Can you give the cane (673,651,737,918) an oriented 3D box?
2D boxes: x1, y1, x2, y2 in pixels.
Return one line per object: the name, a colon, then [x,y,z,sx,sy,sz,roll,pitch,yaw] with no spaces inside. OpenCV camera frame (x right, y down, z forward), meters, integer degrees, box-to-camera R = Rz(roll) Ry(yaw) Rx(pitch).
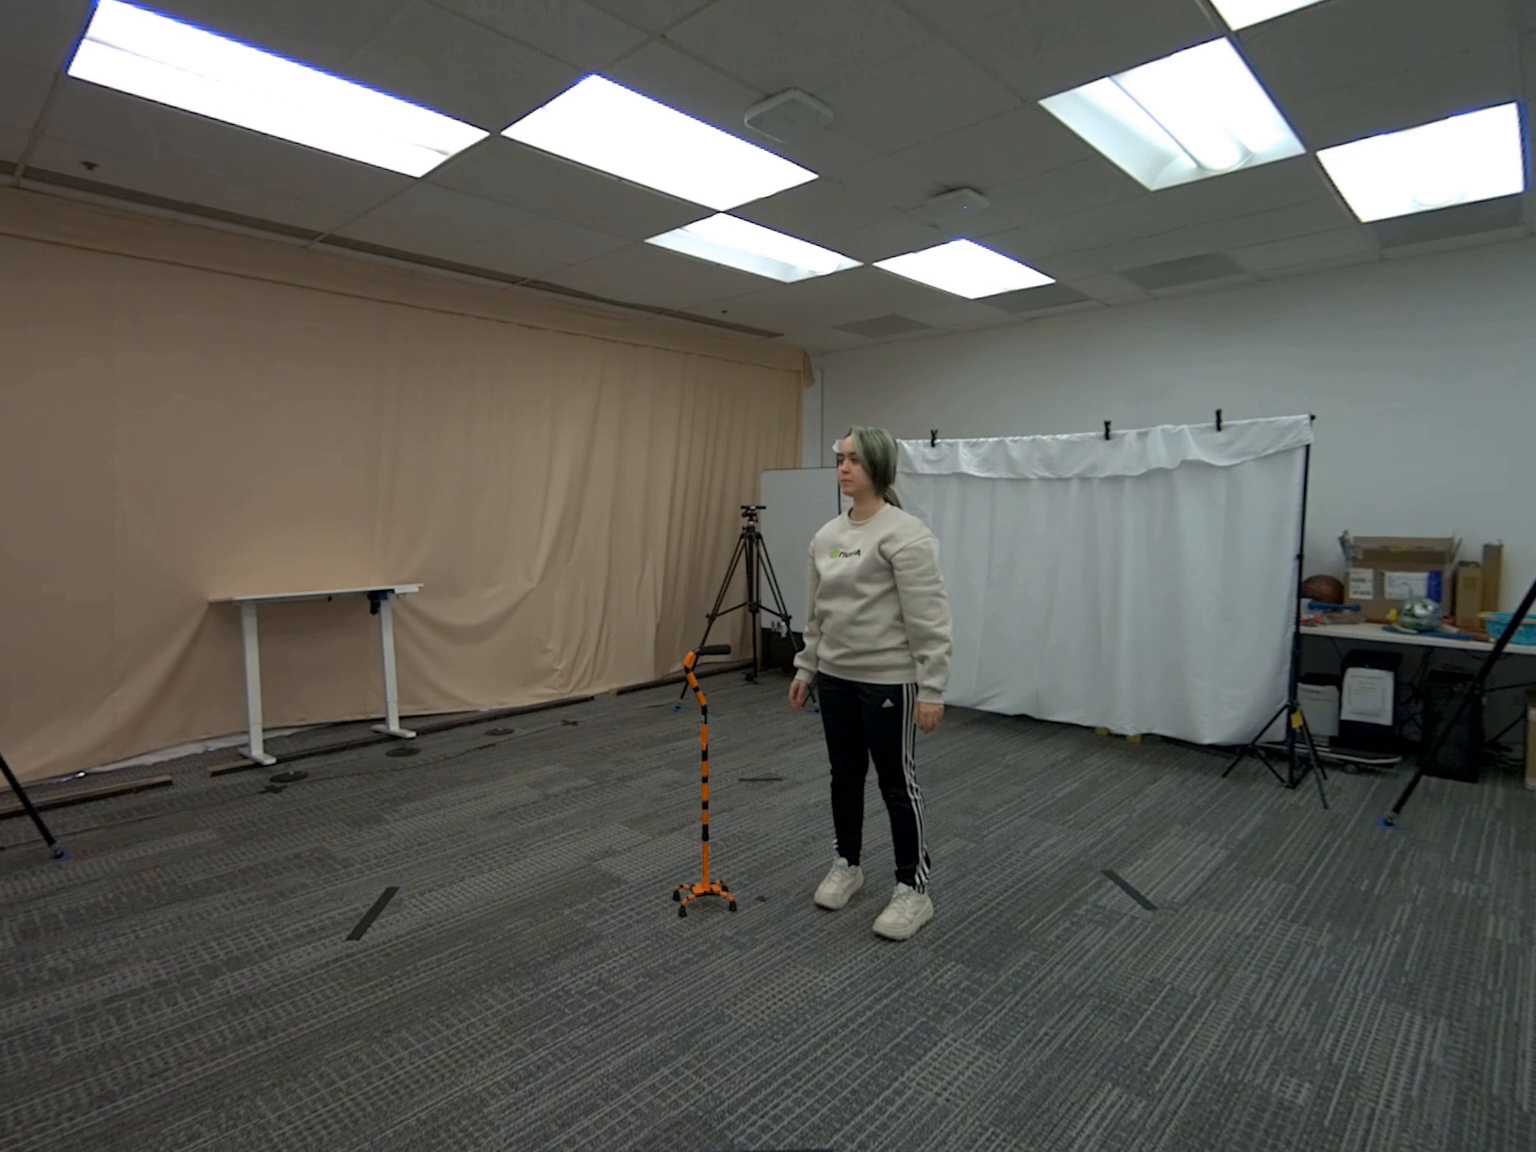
cane: [-0.224,0.699,2.922,0.204,0.906,0.154,-2,3,-13]
